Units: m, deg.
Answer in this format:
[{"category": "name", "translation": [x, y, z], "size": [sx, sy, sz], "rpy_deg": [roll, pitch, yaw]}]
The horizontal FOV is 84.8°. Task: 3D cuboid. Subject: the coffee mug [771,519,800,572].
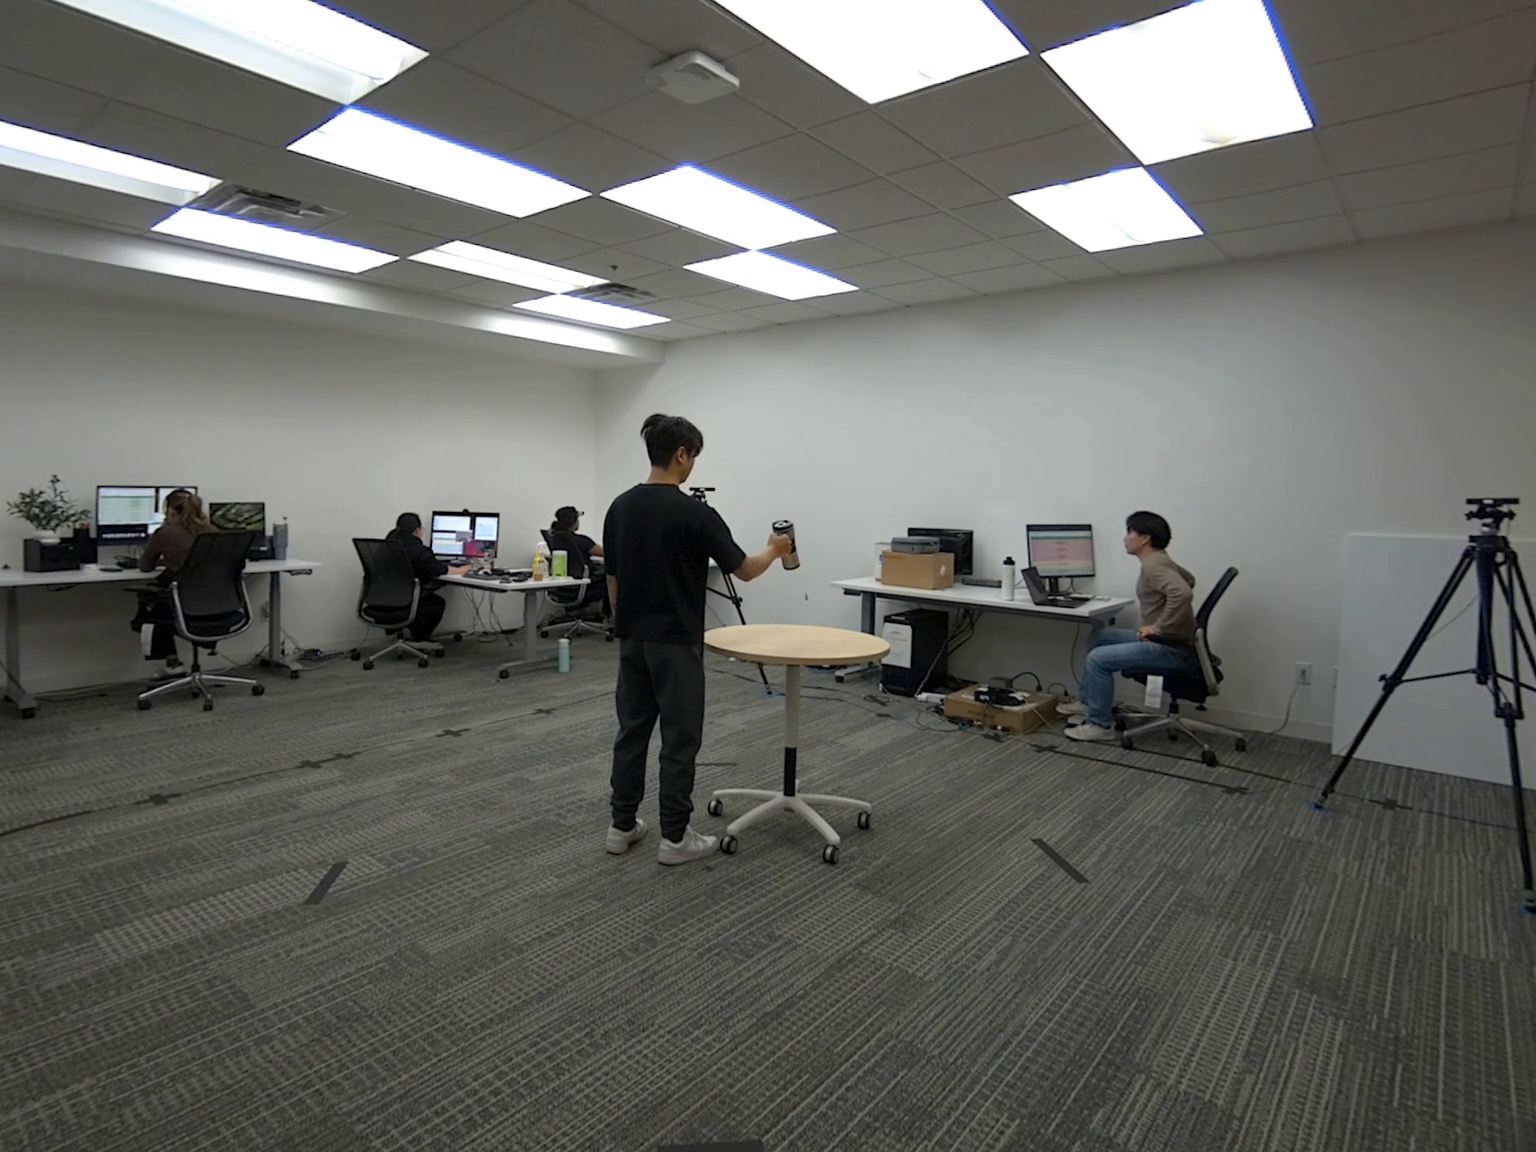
[{"category": "coffee mug", "translation": [0.051, -0.120, 3.494], "size": [0.120, 0.198, 0.091], "rpy_deg": [-26, 26, -35]}]
